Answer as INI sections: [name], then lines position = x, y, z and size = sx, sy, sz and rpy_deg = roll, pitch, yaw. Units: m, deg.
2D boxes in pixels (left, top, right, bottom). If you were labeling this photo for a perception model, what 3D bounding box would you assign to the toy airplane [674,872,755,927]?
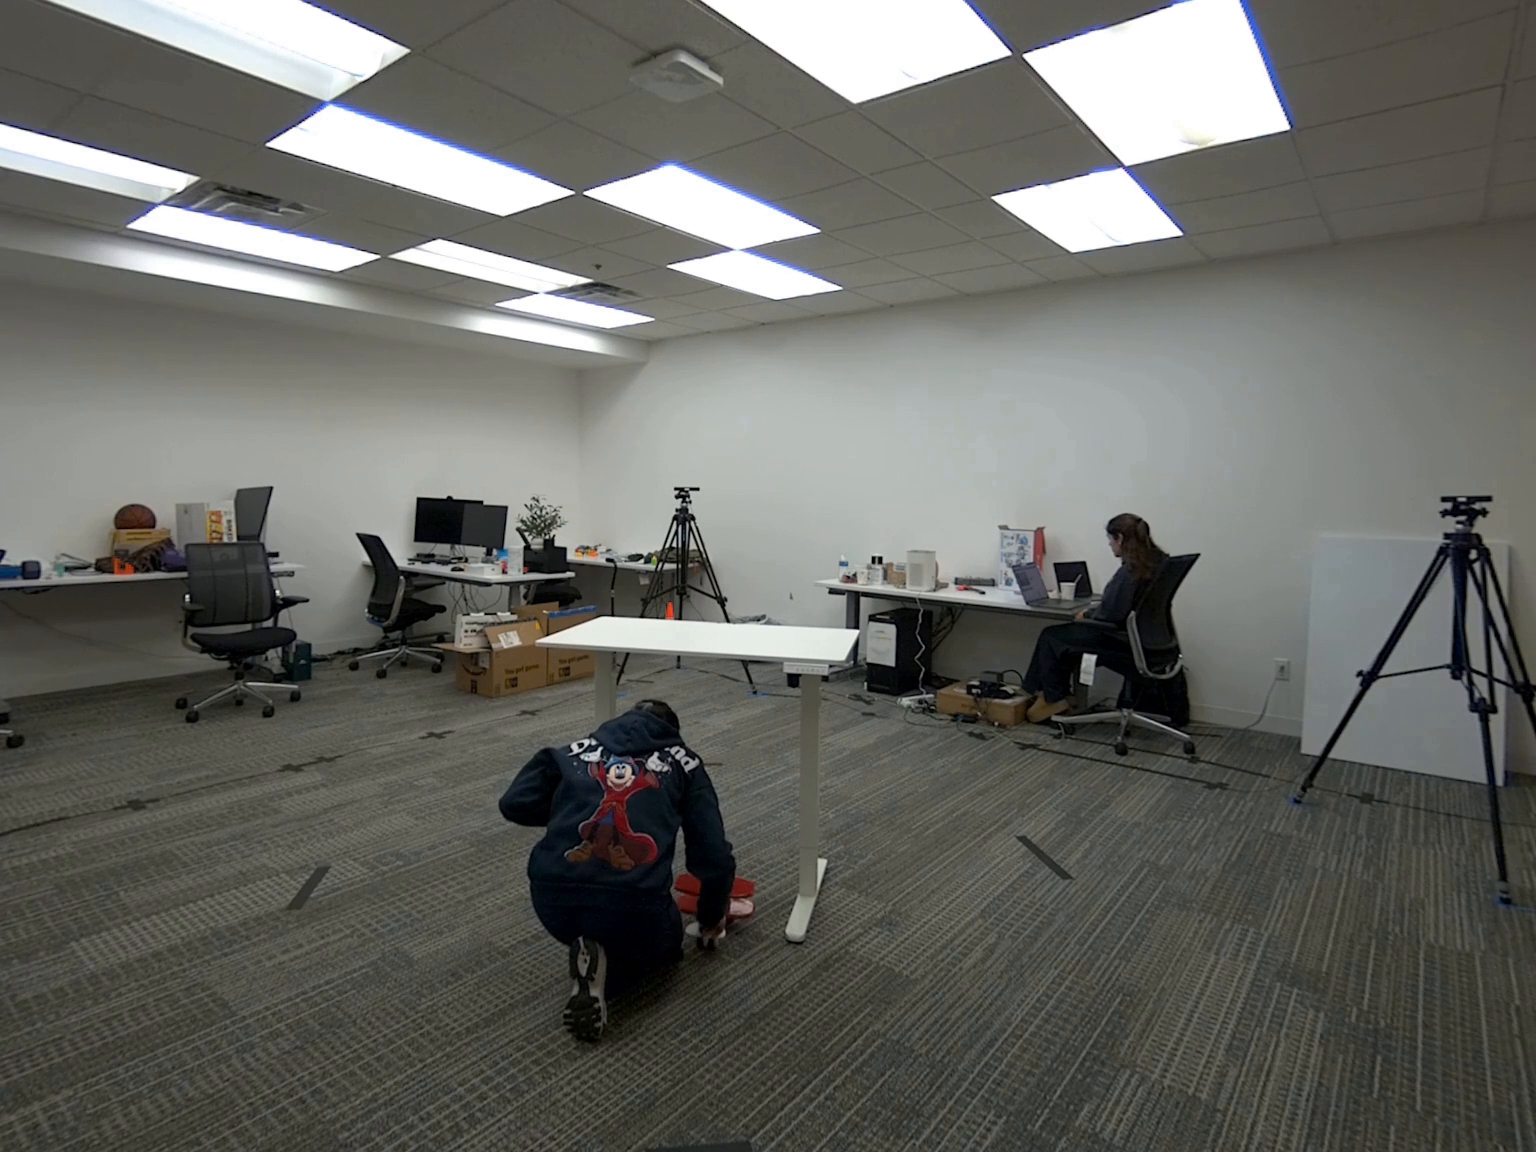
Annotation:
[toy airplane]
position = -0.140, 1.032, 2.661
size = 0.246, 0.156, 0.265
rpy_deg = -3, 5, -21
